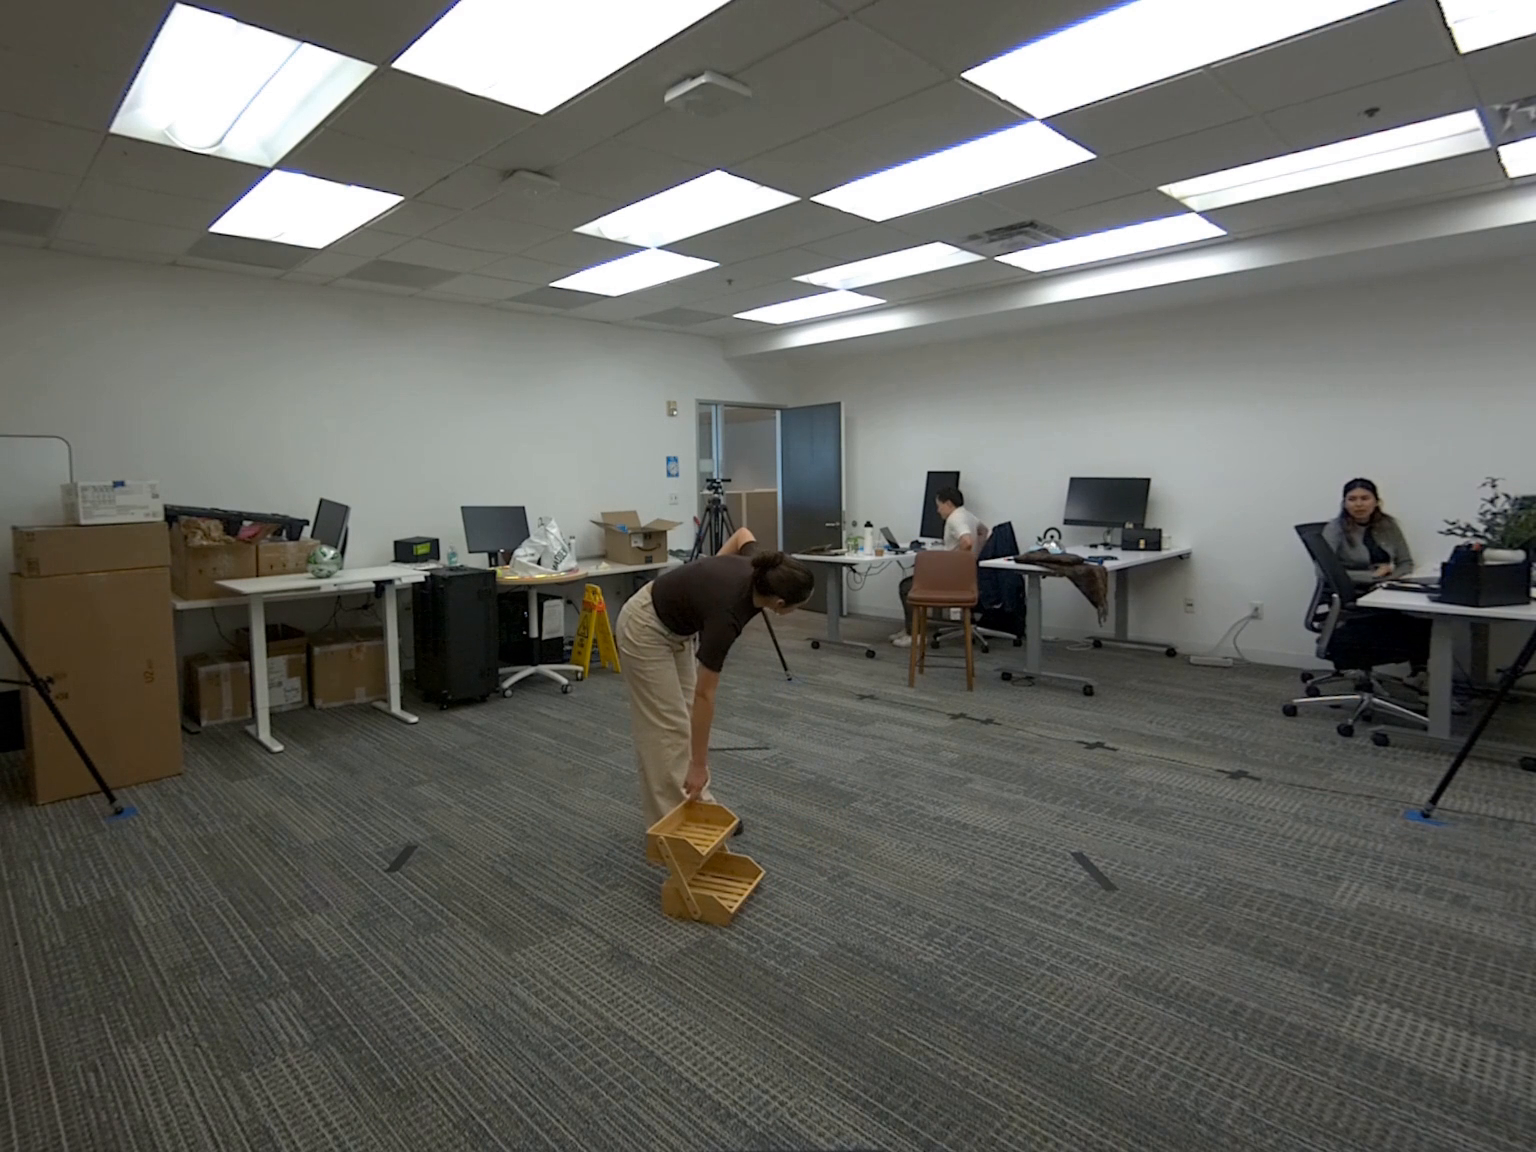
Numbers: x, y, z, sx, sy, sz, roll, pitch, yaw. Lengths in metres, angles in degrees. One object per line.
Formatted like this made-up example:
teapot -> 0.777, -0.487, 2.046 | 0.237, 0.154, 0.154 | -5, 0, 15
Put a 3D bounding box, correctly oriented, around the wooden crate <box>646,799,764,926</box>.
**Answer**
wooden crate -> -0.191, 0.946, 2.847 | 0.308, 0.272, 0.320 | 1, 6, 20
